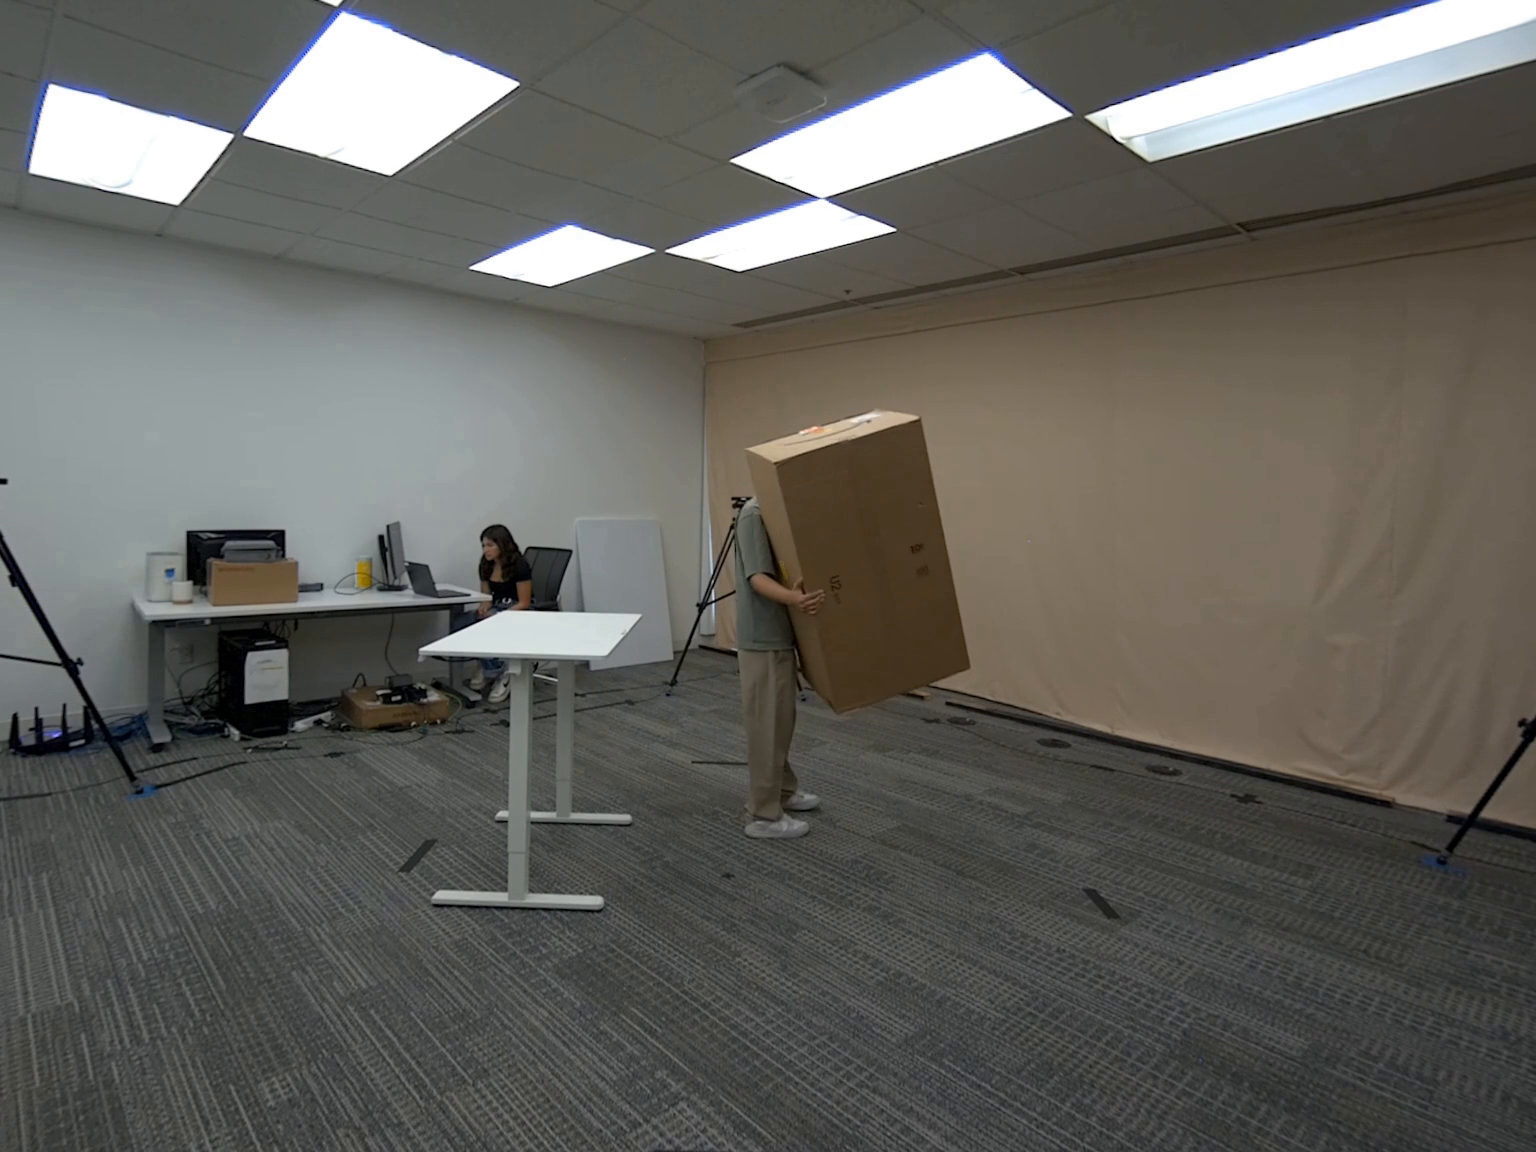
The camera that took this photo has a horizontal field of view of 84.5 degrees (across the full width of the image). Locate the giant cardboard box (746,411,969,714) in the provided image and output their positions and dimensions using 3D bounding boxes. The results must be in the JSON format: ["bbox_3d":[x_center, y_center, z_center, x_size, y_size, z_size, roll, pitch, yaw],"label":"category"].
[{"bbox_3d":[0.343,-0.071,3.312,0.574,1.011,0.435,-18,17,-11],"label":"giant cardboard box"}]
